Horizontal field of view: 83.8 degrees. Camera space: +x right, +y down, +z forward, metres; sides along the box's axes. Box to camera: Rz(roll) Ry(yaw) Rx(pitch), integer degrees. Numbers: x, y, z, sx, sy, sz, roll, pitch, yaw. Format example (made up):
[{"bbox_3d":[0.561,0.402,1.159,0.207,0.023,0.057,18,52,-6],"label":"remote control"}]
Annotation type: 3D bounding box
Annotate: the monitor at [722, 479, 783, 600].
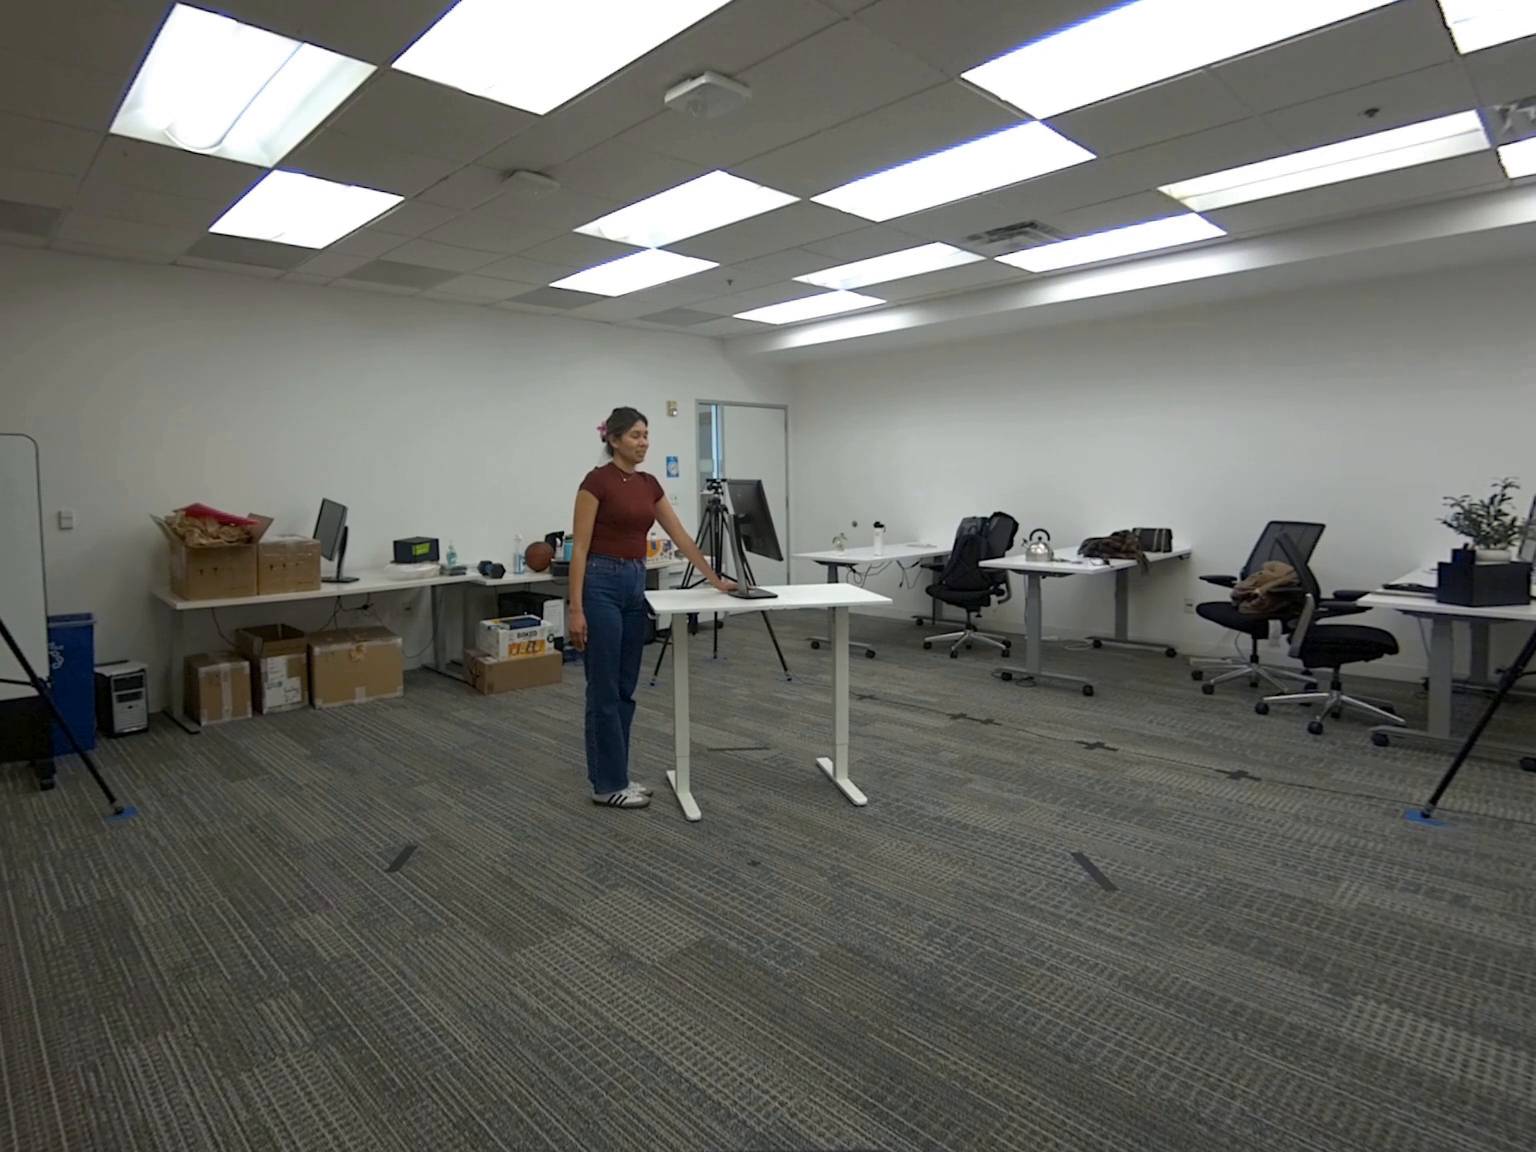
[{"bbox_3d":[-0.098,-0.169,3.787,0.184,0.520,0.550,-4,7,-18],"label":"monitor"}]
